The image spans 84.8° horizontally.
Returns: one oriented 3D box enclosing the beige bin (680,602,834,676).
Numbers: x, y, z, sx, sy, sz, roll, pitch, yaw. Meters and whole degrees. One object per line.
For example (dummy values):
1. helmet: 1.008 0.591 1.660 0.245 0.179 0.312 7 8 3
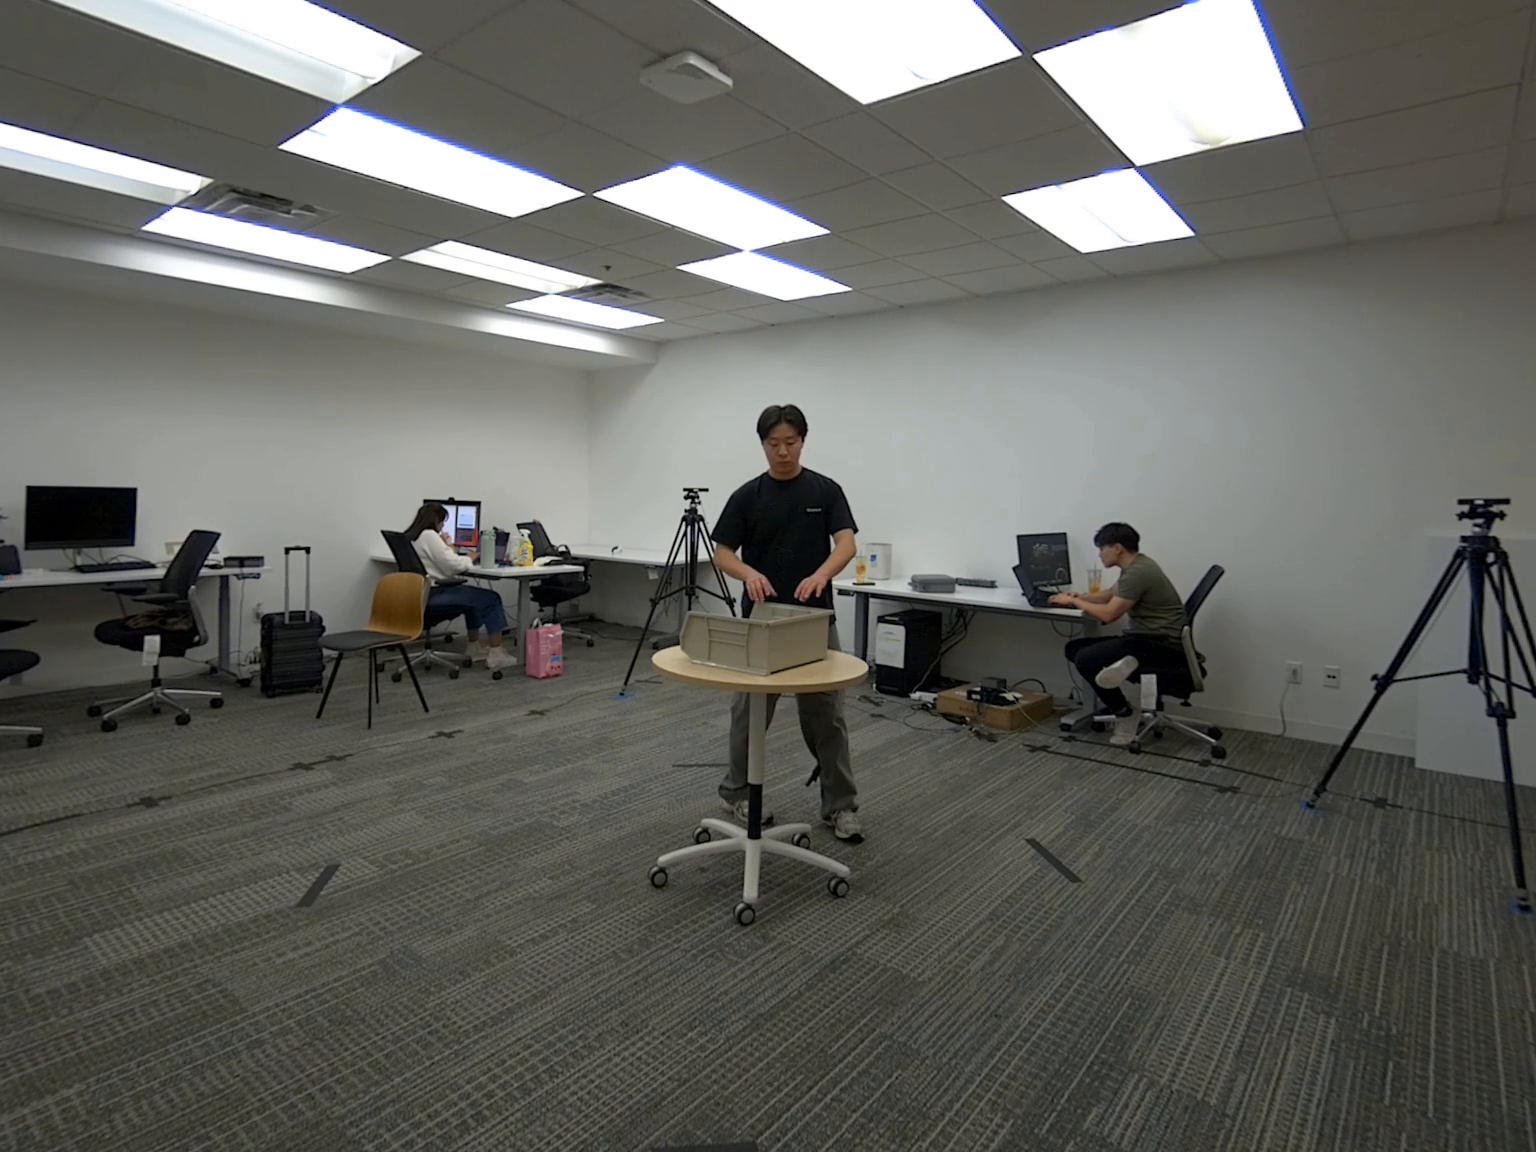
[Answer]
1. beige bin: -0.051 0.208 3.028 0.390 0.188 0.410 7 7 36
